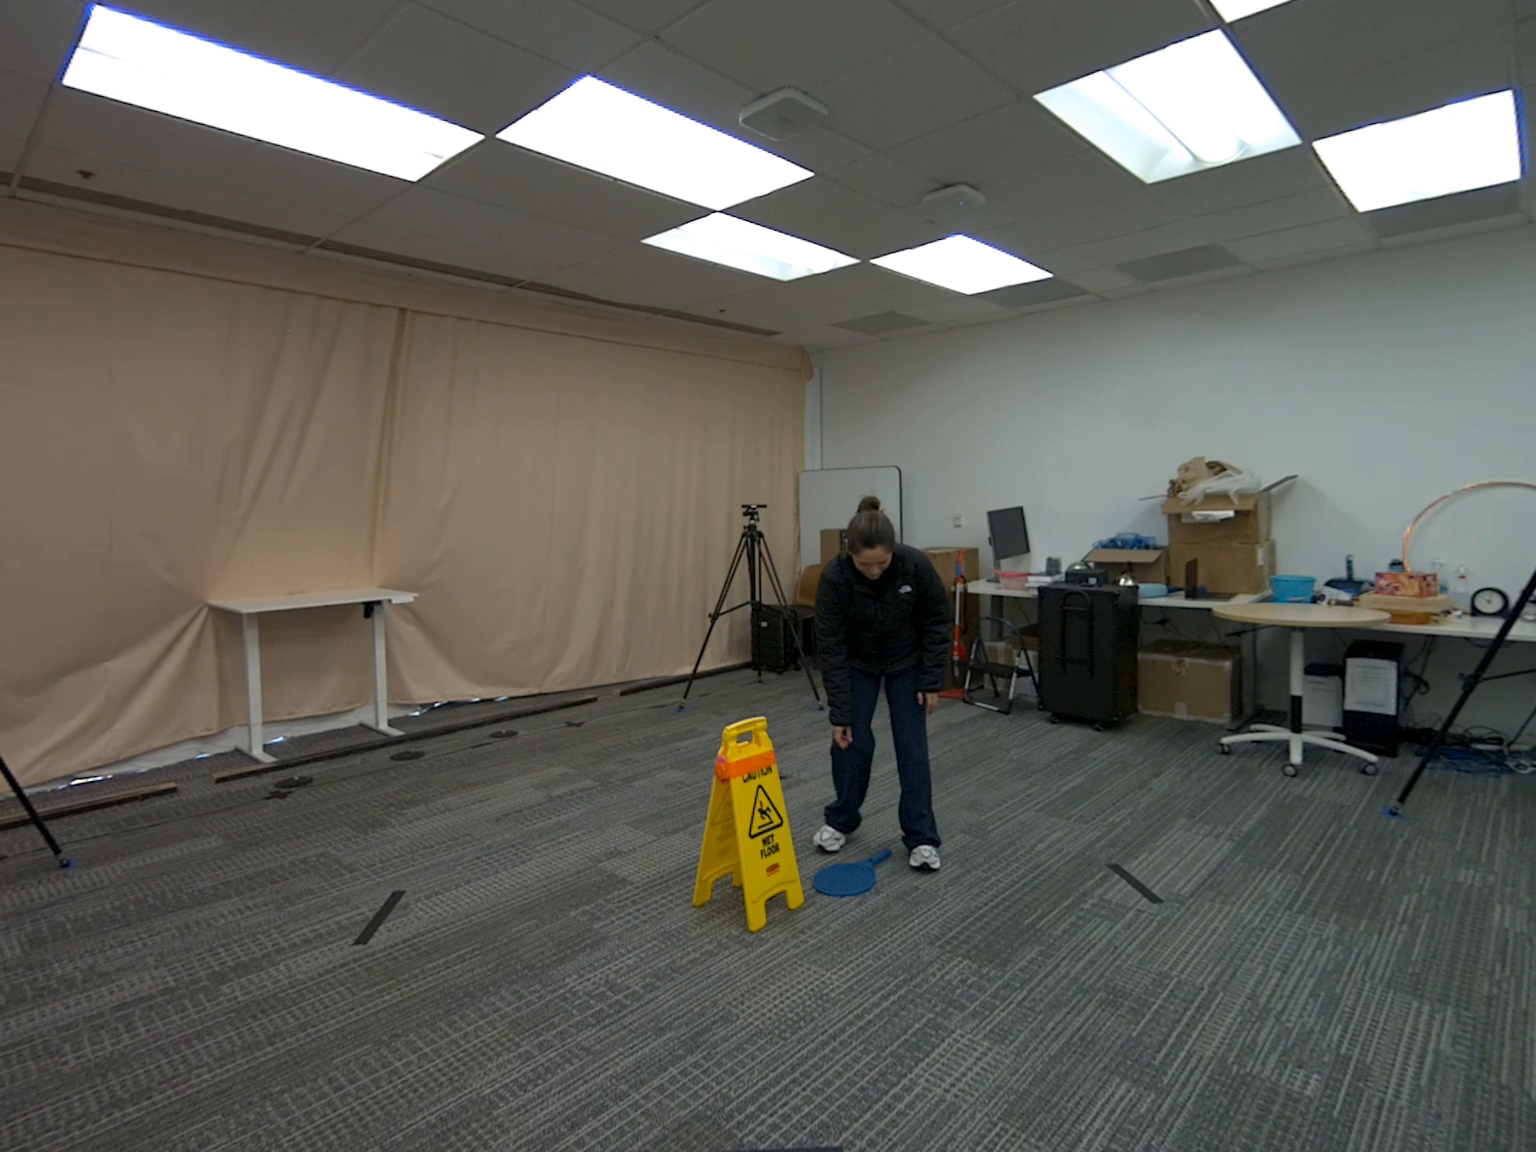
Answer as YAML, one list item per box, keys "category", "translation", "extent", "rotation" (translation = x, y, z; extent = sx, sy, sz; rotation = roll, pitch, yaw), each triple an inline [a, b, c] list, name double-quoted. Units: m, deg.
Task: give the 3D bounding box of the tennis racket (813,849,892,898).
- category: "tennis racket"
  translation: [0.339, 1.098, 3.161]
  extent: [0.221, 0.031, 0.420]
  rotation: [5, 9, 42]
